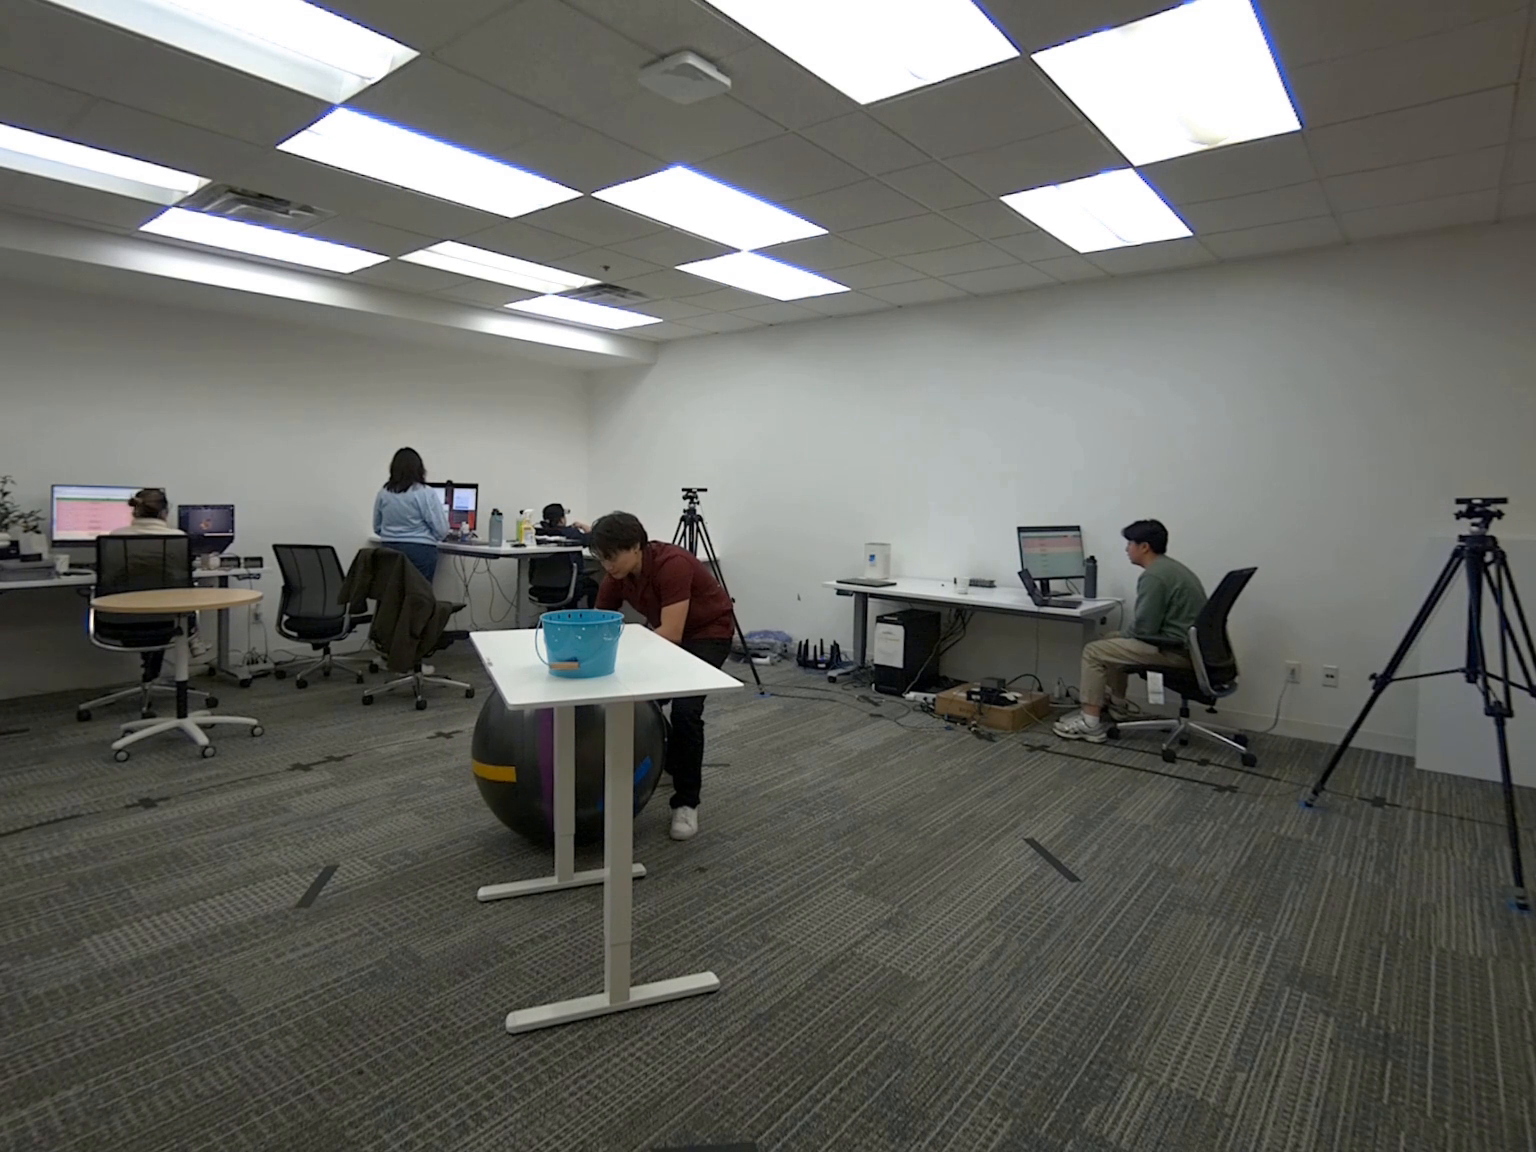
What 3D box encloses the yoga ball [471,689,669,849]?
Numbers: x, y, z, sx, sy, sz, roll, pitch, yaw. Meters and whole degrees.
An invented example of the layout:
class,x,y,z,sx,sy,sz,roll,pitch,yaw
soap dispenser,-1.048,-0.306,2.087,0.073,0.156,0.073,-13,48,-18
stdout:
class,x,y,z,sx,sy,sz,roll,pitch,yaw
yoga ball,-0.801,0.674,3.388,0.757,0.756,0.762,1,4,-2
